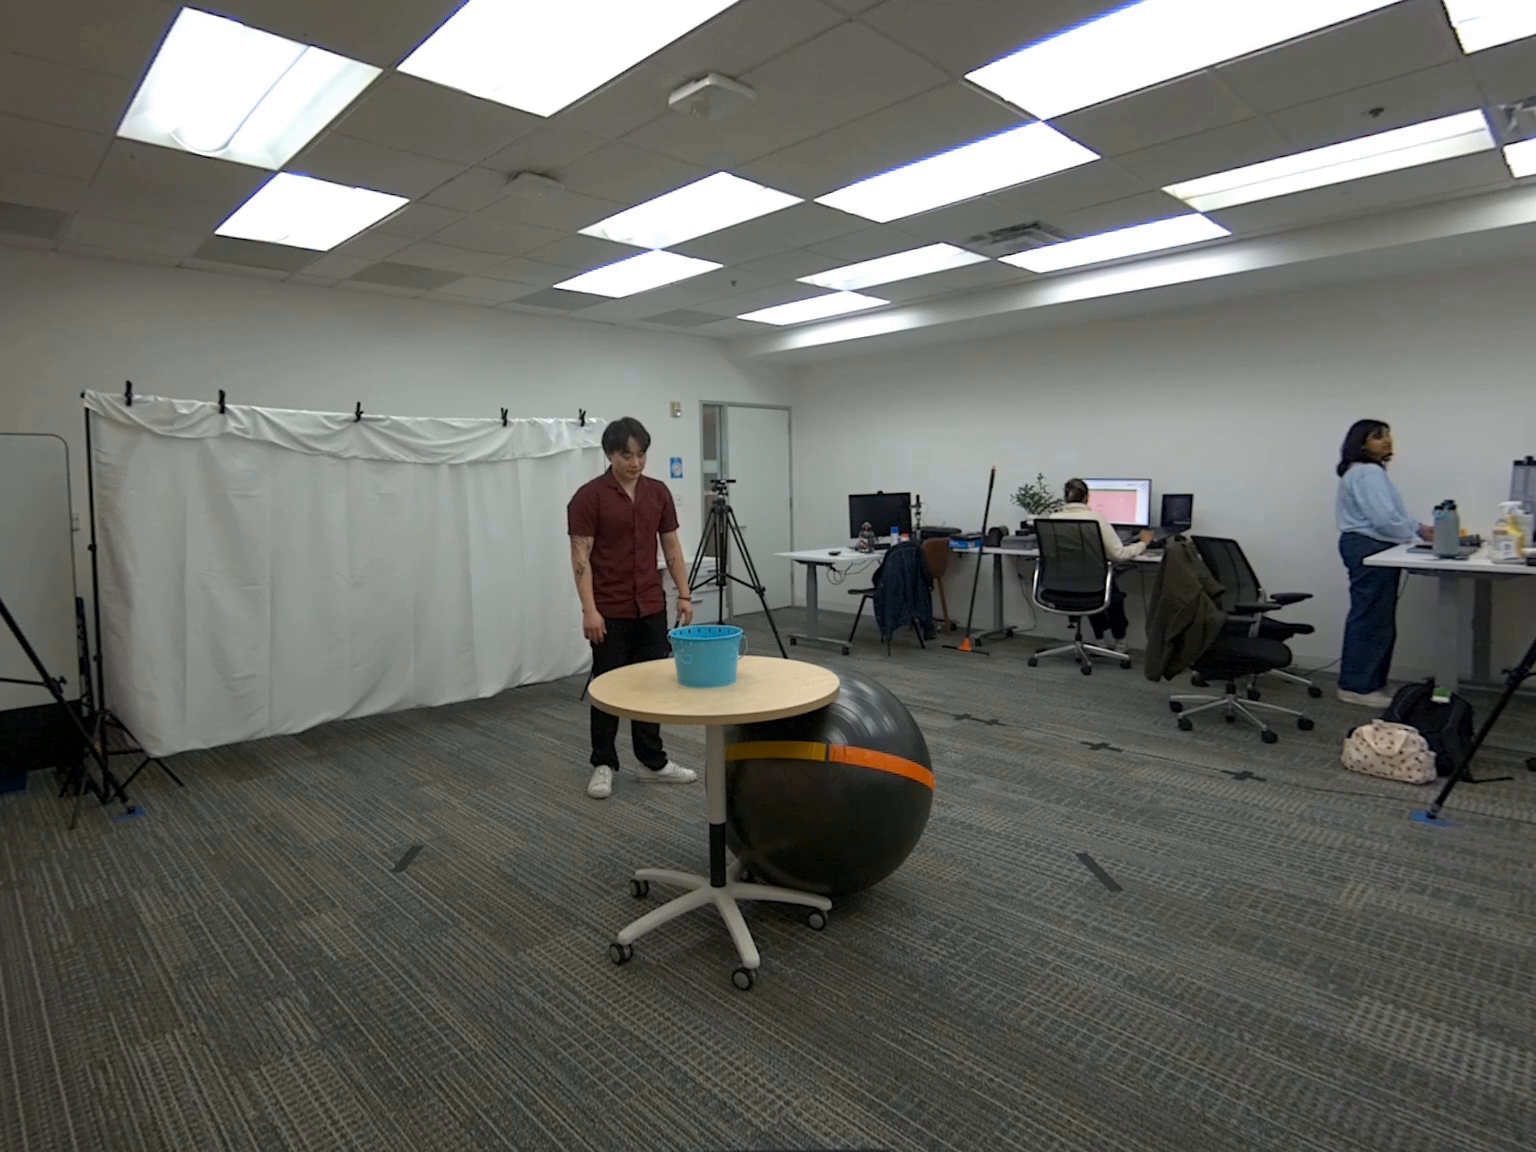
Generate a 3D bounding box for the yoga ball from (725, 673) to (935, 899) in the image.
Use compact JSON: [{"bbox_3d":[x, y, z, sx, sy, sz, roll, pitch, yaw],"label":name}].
[{"bbox_3d":[0.173,0.686,2.895,0.757,0.755,0.762,-1,5,-2],"label":"yoga ball"}]
